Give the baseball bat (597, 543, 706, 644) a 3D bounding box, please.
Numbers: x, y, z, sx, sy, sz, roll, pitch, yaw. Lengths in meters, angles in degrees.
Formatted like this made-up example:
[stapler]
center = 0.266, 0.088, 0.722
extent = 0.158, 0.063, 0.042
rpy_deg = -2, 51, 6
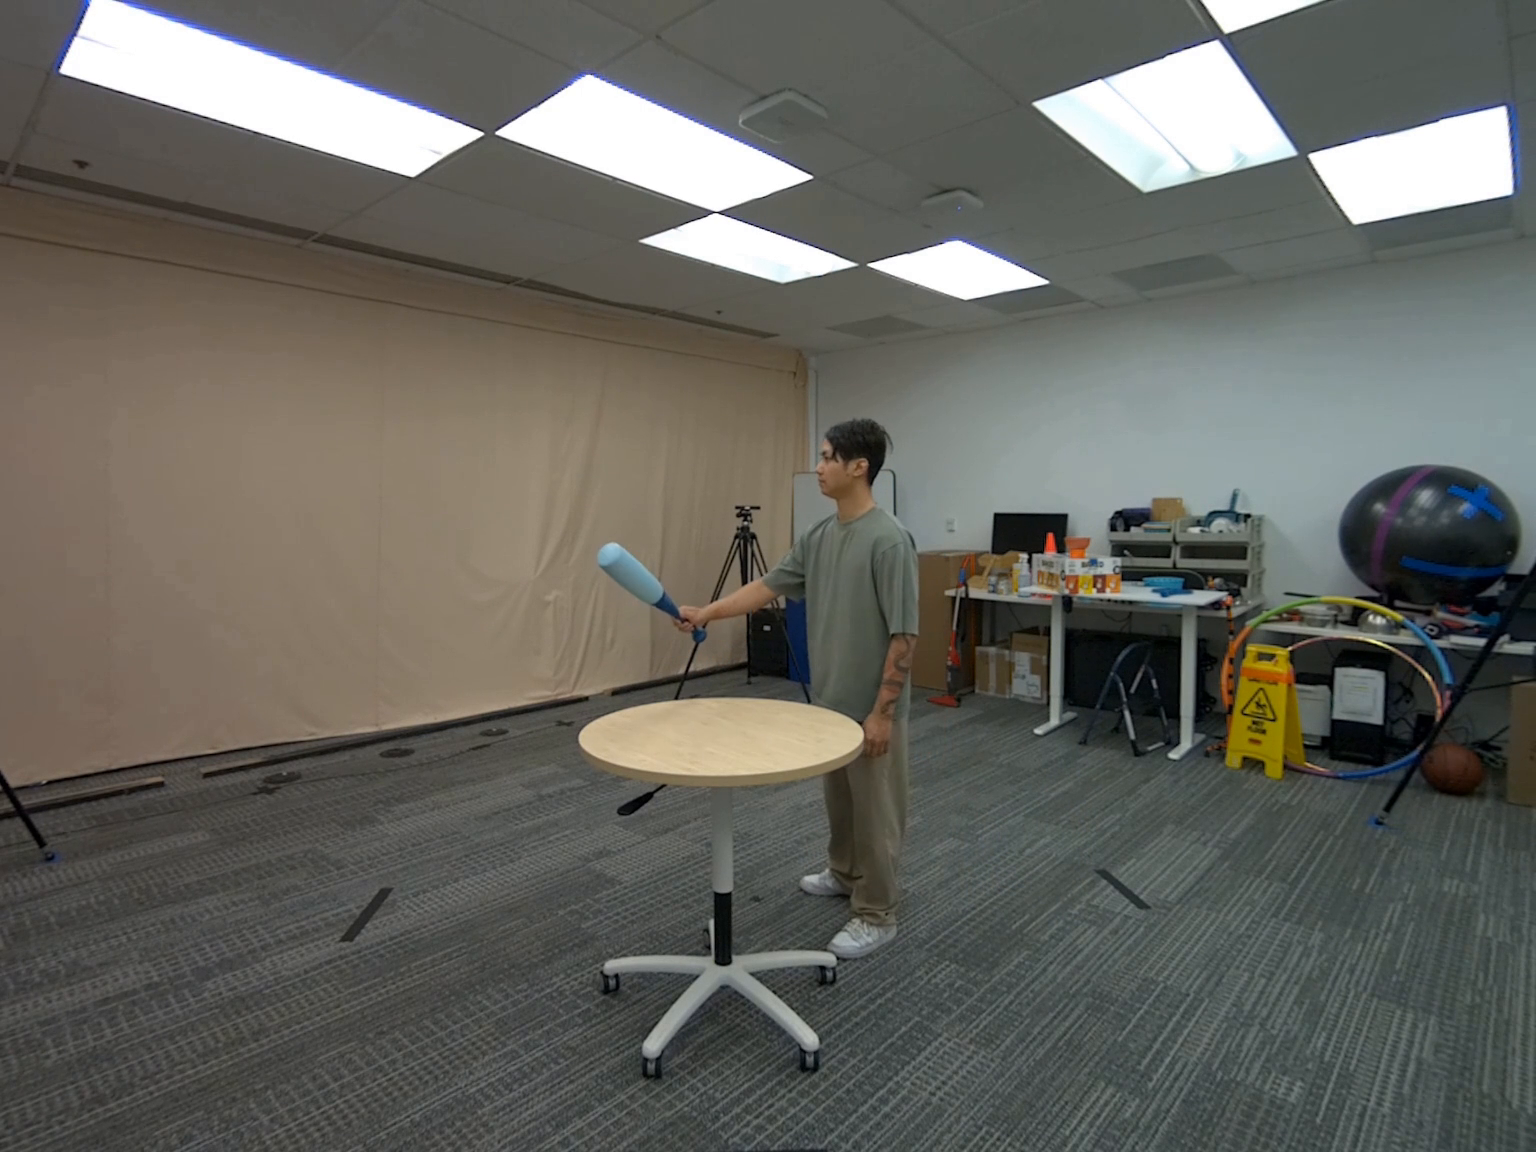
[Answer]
[baseball bat]
center = -0.336, 0.079, 2.593
extent = 0.092, 0.089, 0.524
rpy_deg = 3, -30, 34
